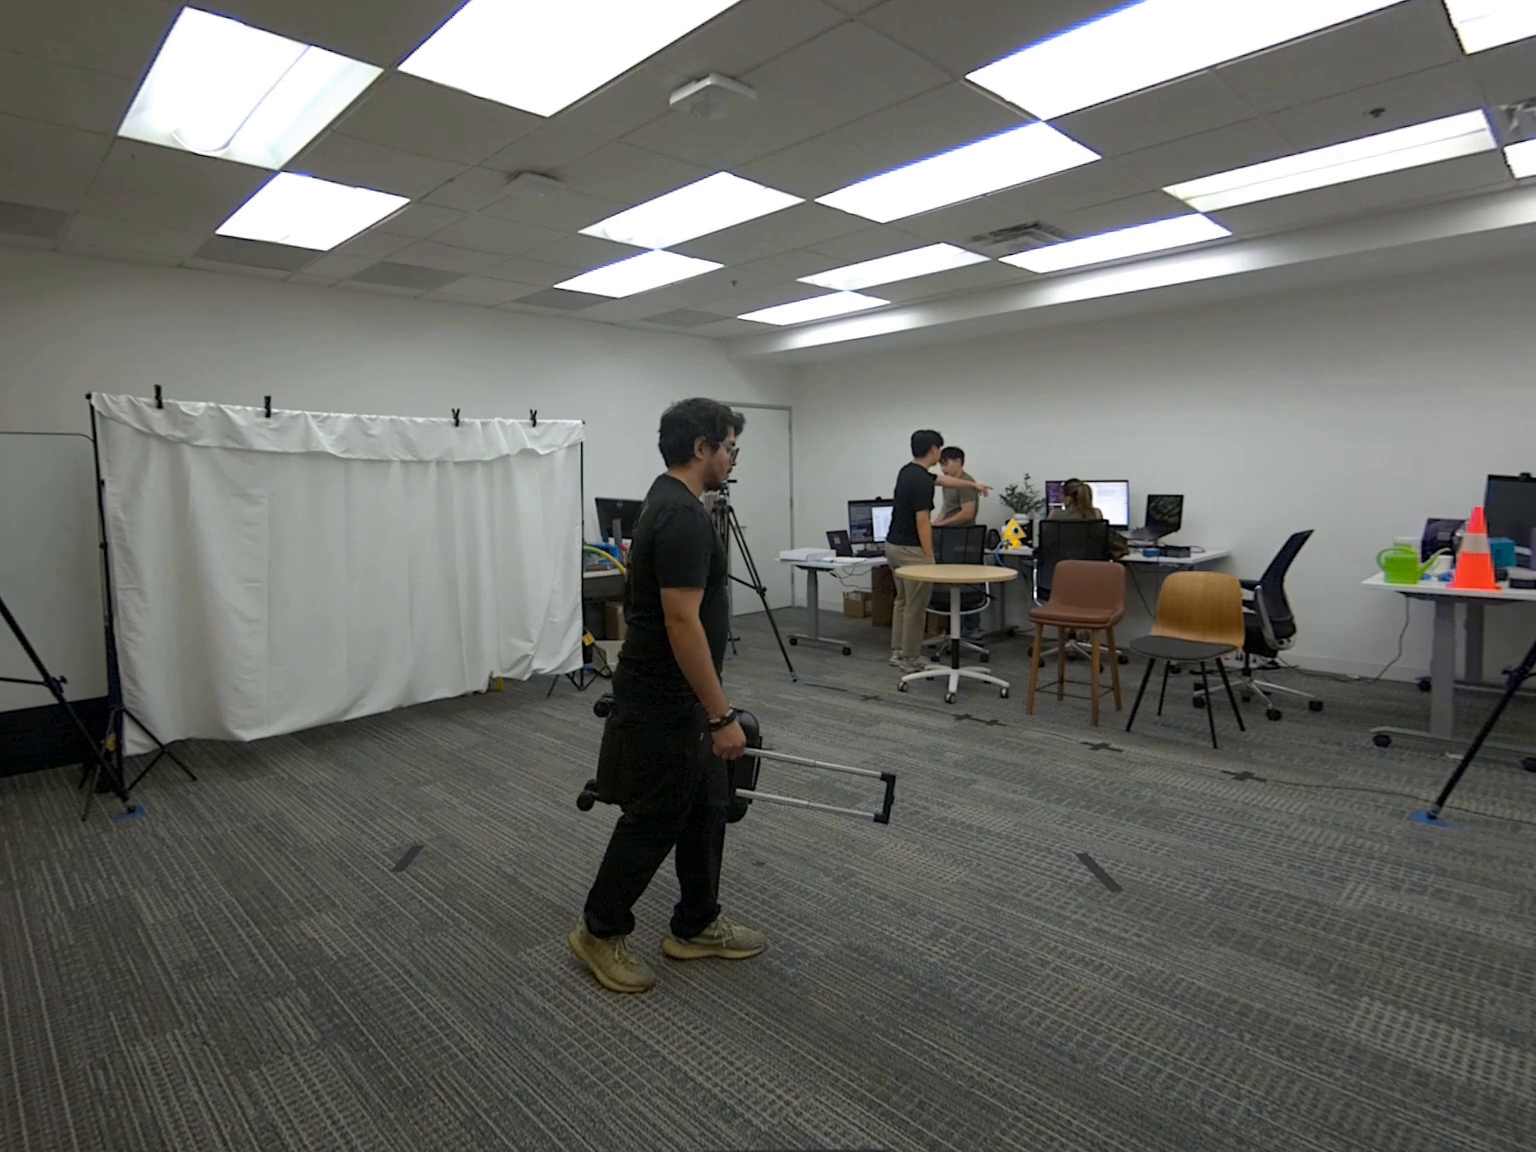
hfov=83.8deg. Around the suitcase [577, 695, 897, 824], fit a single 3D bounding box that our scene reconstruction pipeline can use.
[{"bbox_3d":[-0.095,0.608,2.806,0.974,0.385,0.257,8,-5,-4],"label":"suitcase"}]
